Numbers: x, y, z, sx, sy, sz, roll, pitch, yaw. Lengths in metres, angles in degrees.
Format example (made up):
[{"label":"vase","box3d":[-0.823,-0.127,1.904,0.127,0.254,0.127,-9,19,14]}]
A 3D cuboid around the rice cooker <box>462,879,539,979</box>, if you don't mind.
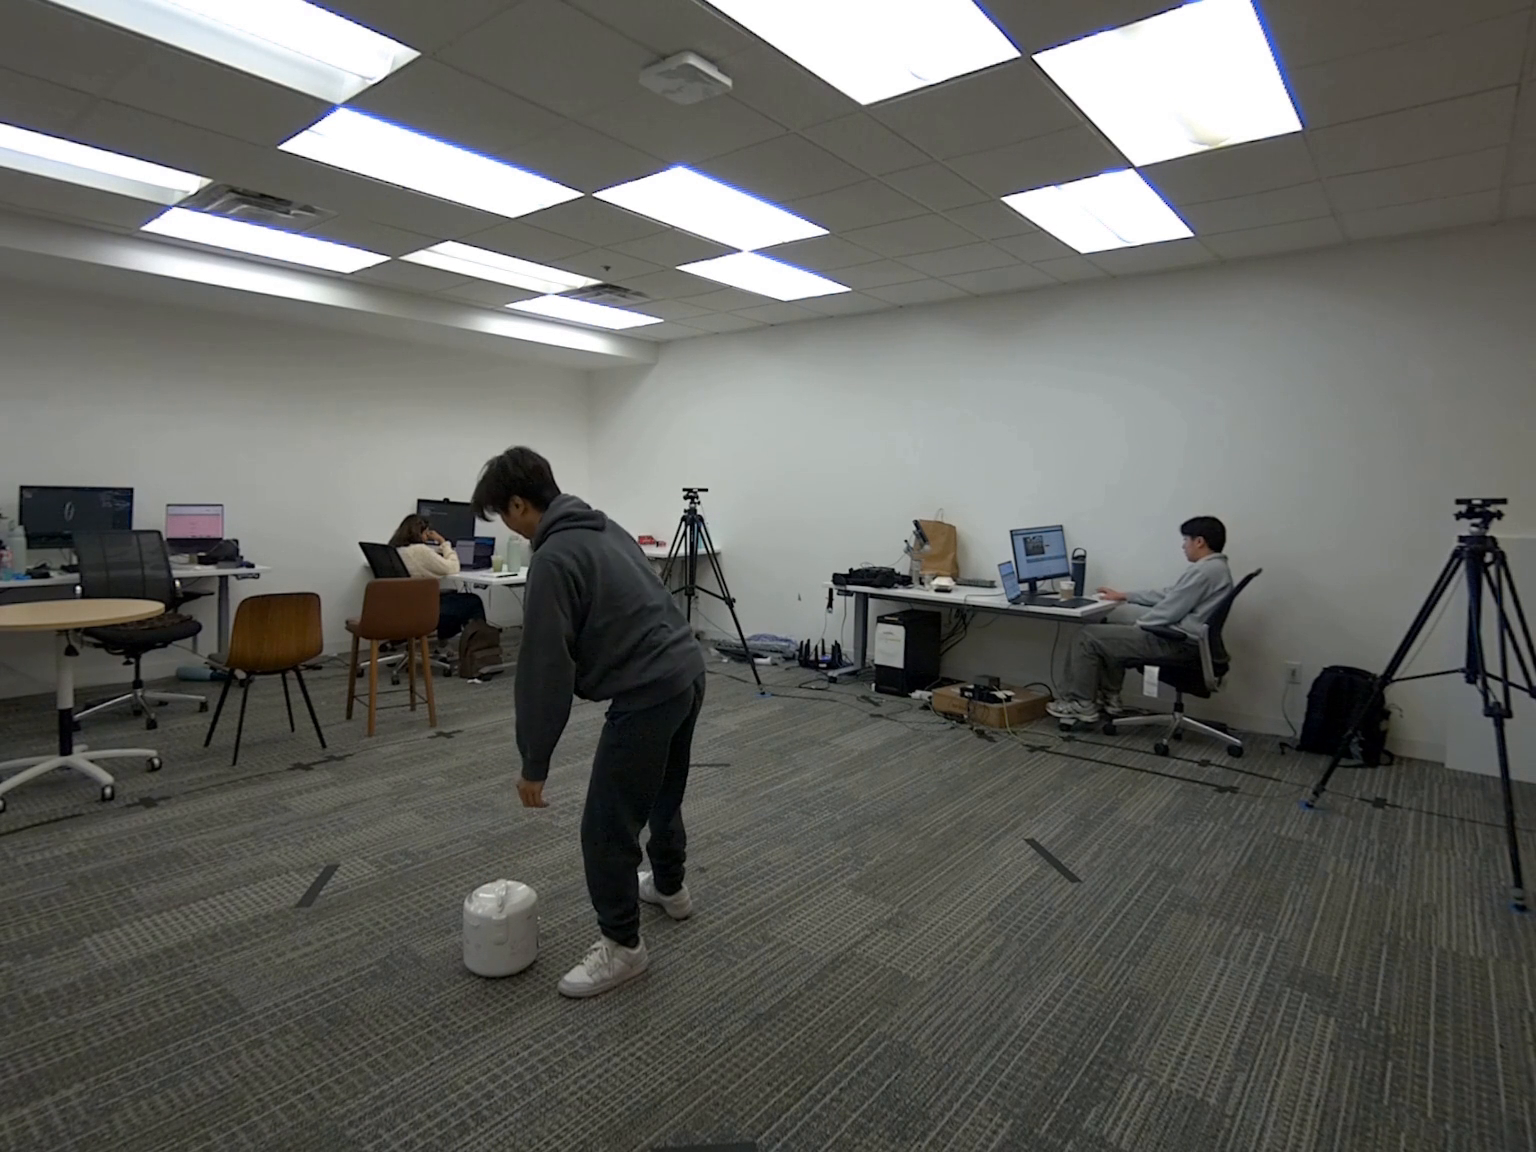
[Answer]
[{"label":"rice cooker","box3d":[-0.784,1.010,2.478,0.214,0.232,0.224,0,4,-13]}]
